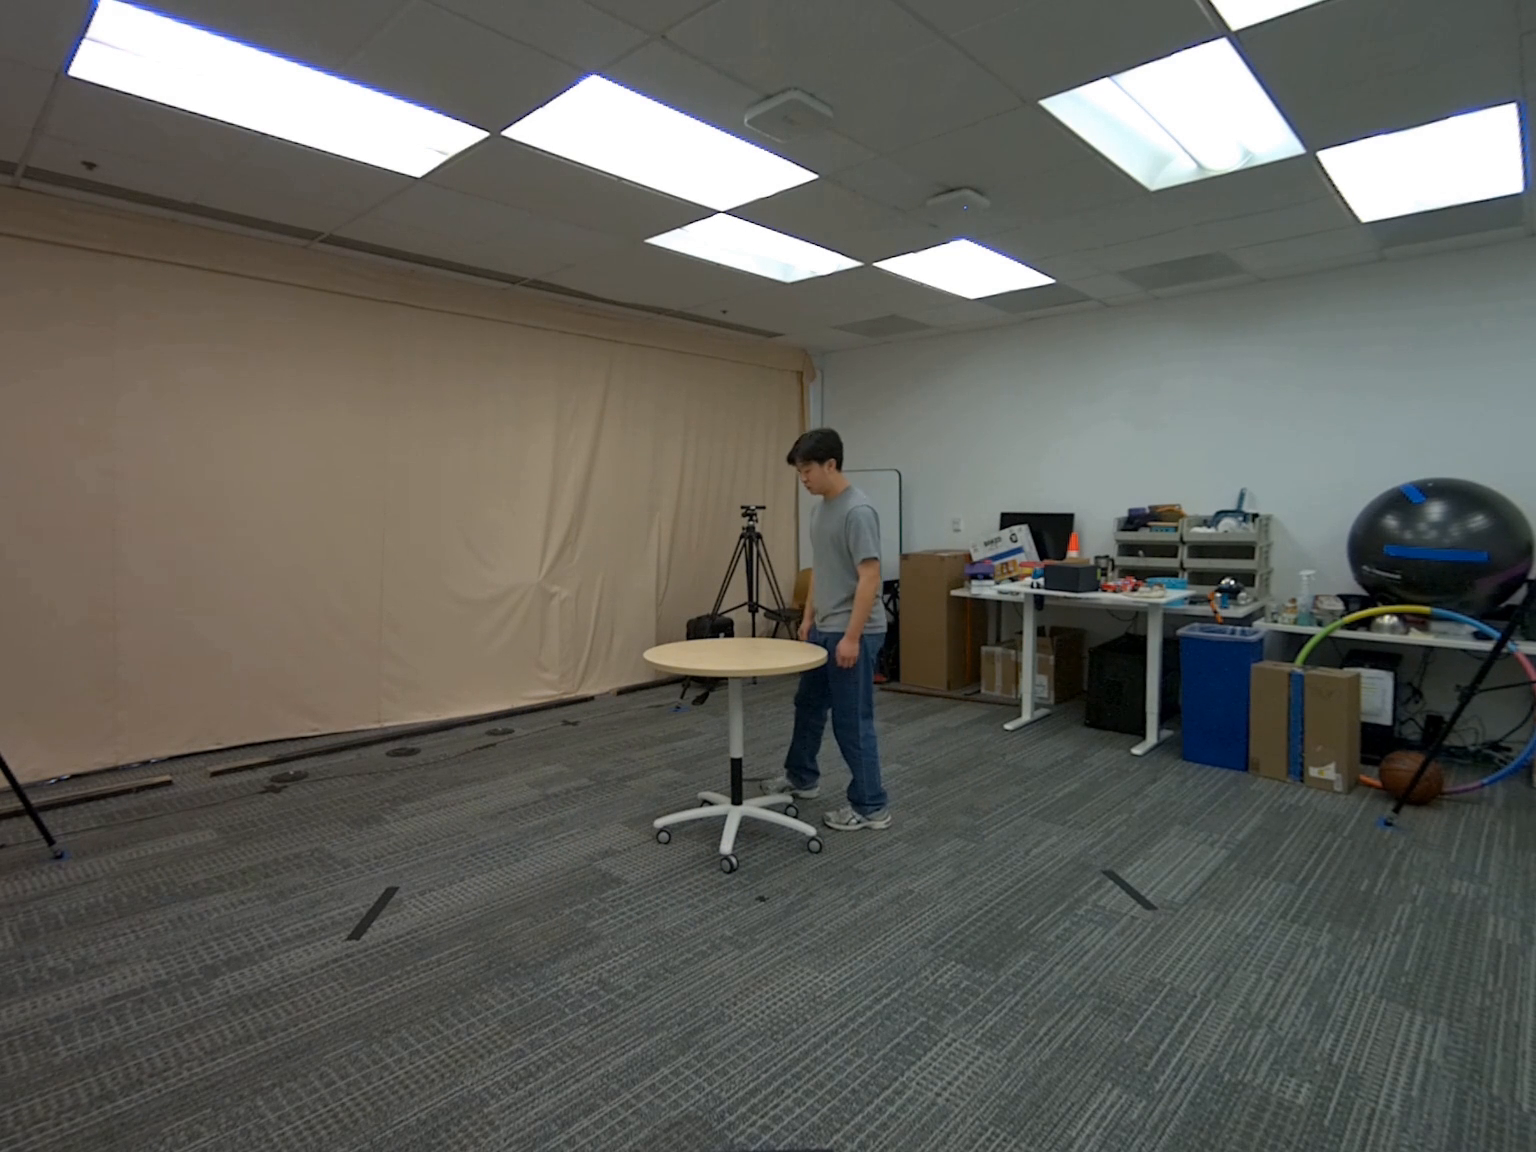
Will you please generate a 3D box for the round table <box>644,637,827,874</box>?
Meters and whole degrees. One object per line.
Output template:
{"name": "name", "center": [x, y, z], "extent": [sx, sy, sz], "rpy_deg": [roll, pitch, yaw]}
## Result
{"name": "round table", "center": [-0.131, 0.714, 3.524], "extent": [0.763, 0.792, 0.766], "rpy_deg": [0, 3, -2]}
